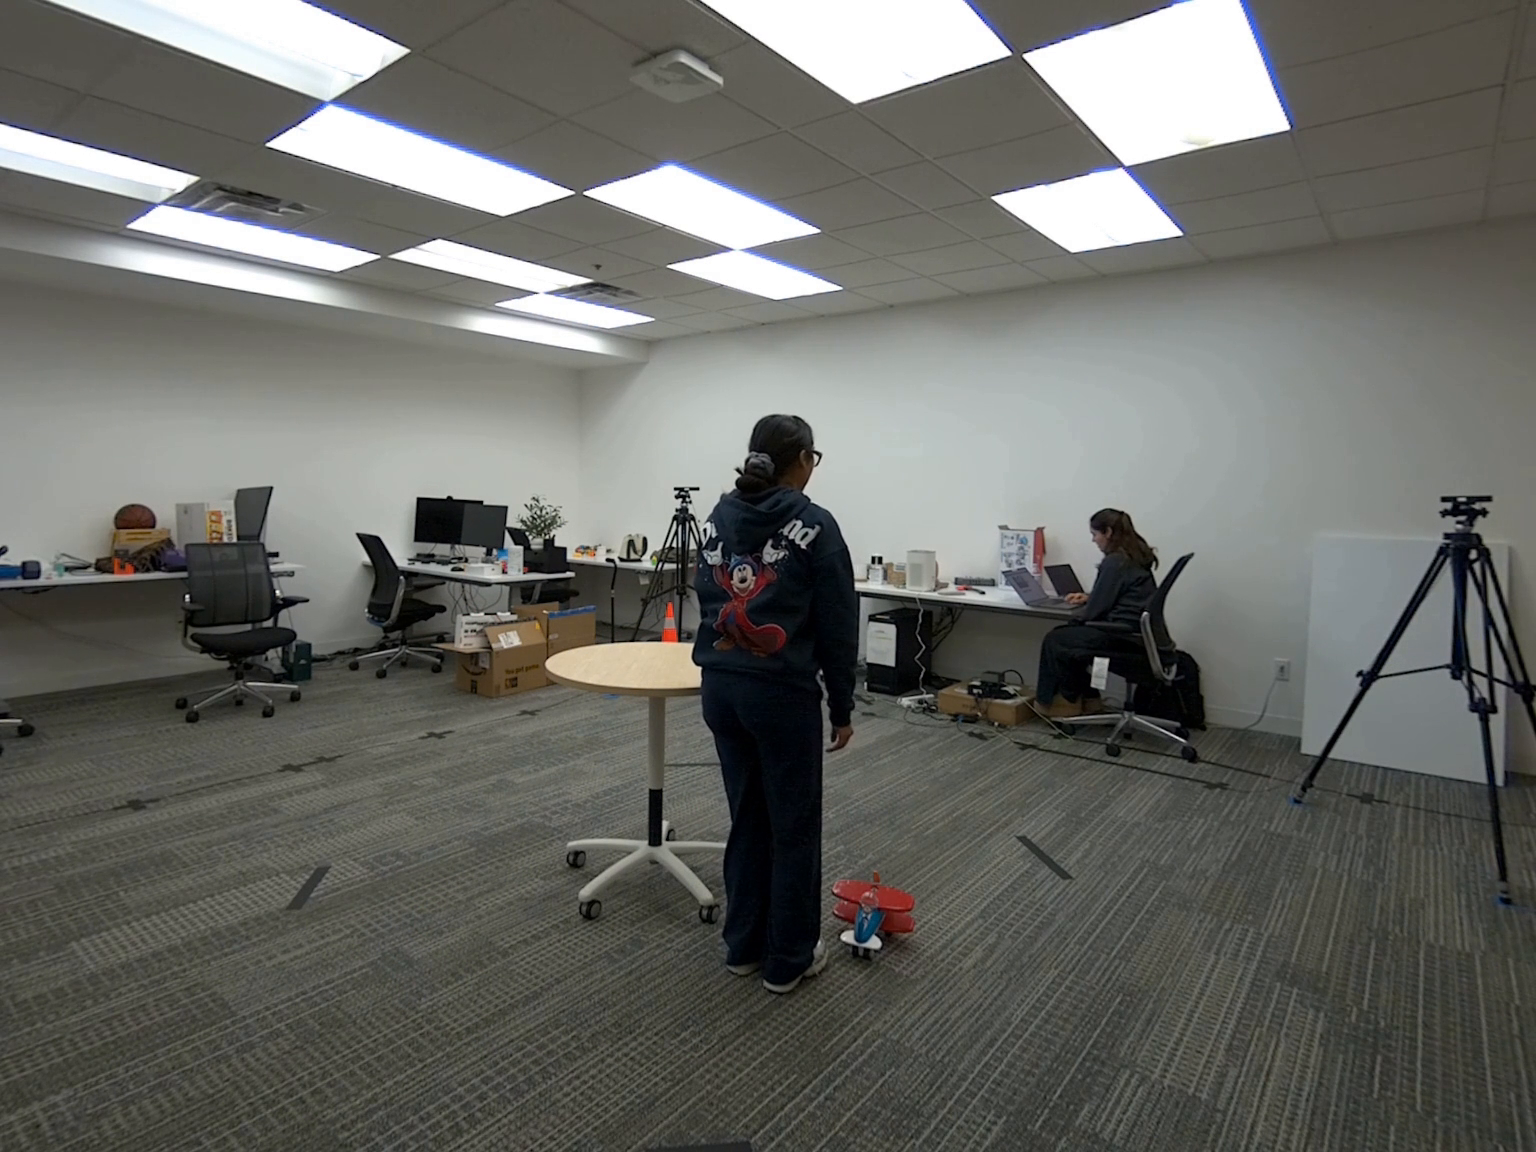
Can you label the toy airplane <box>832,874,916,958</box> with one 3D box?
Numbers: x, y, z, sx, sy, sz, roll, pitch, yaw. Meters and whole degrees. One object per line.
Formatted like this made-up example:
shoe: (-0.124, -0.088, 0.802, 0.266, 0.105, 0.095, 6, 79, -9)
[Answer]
toy airplane: (0.323, 1.051, 2.616, 0.250, 0.156, 0.261, 0, 3, -6)
